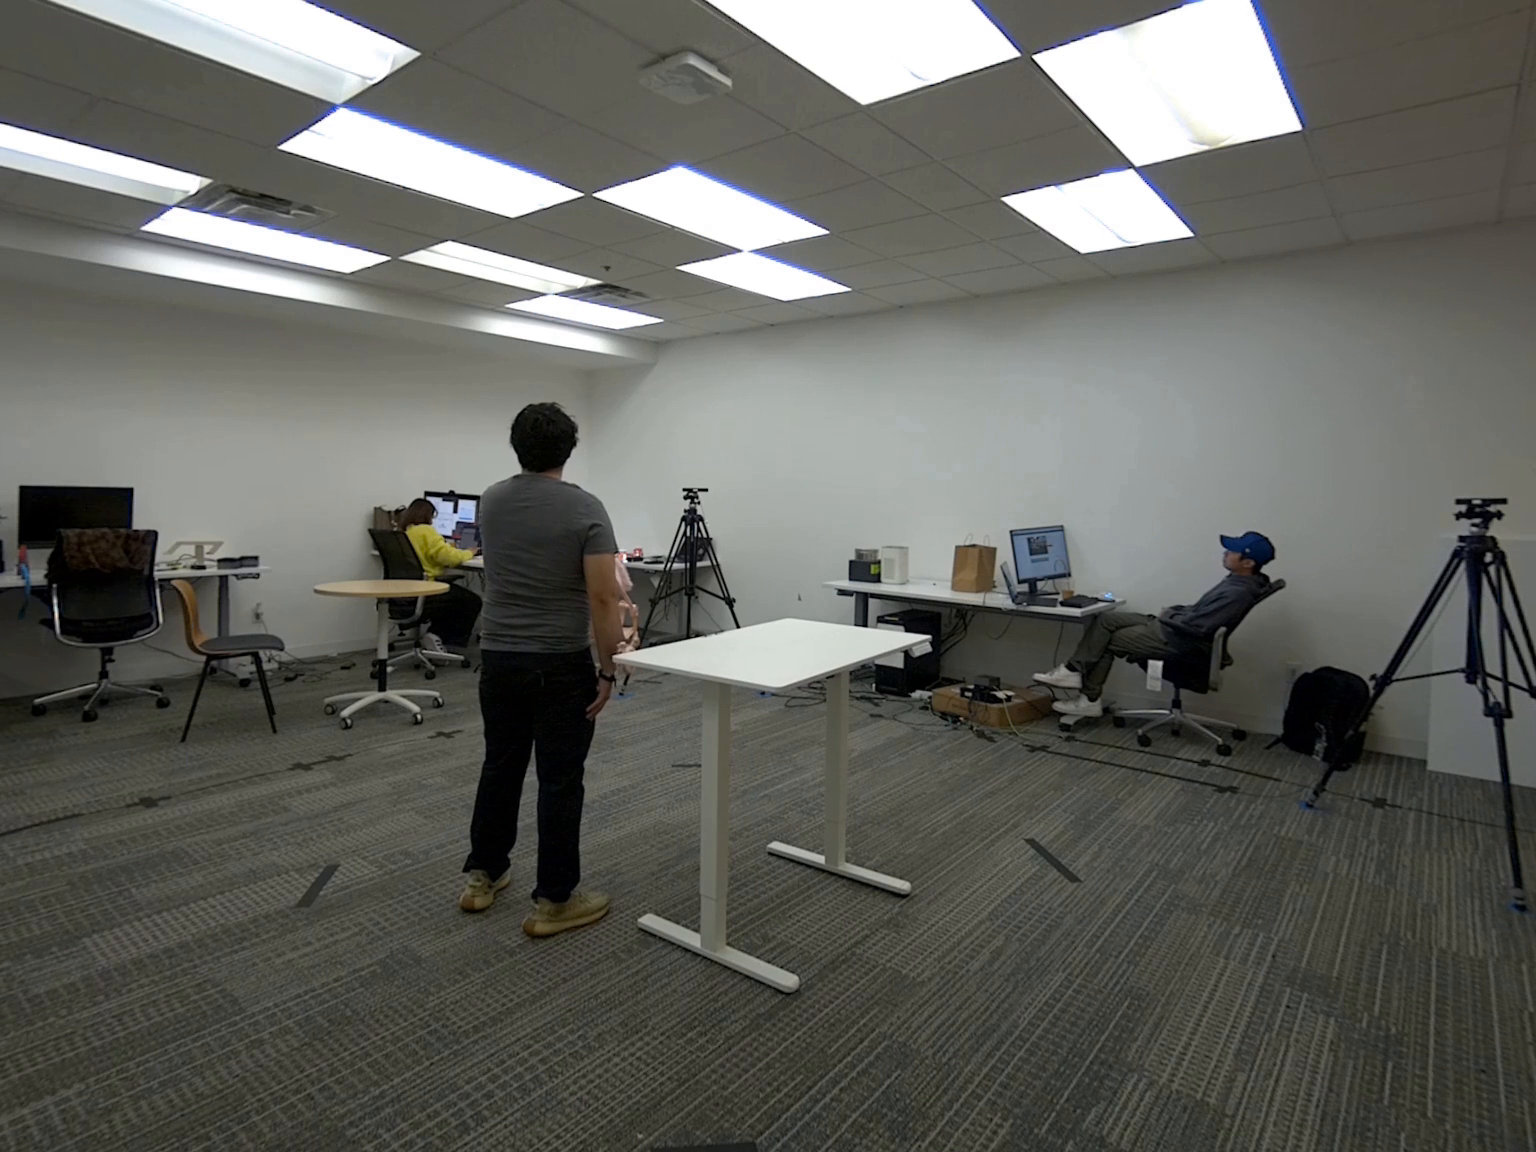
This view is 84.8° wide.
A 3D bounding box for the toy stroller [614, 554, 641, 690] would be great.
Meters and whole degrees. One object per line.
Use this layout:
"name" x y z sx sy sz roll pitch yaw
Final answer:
"toy stroller" -0.665 0.154 3.453 0.287 0.529 0.338 -1 12 19
